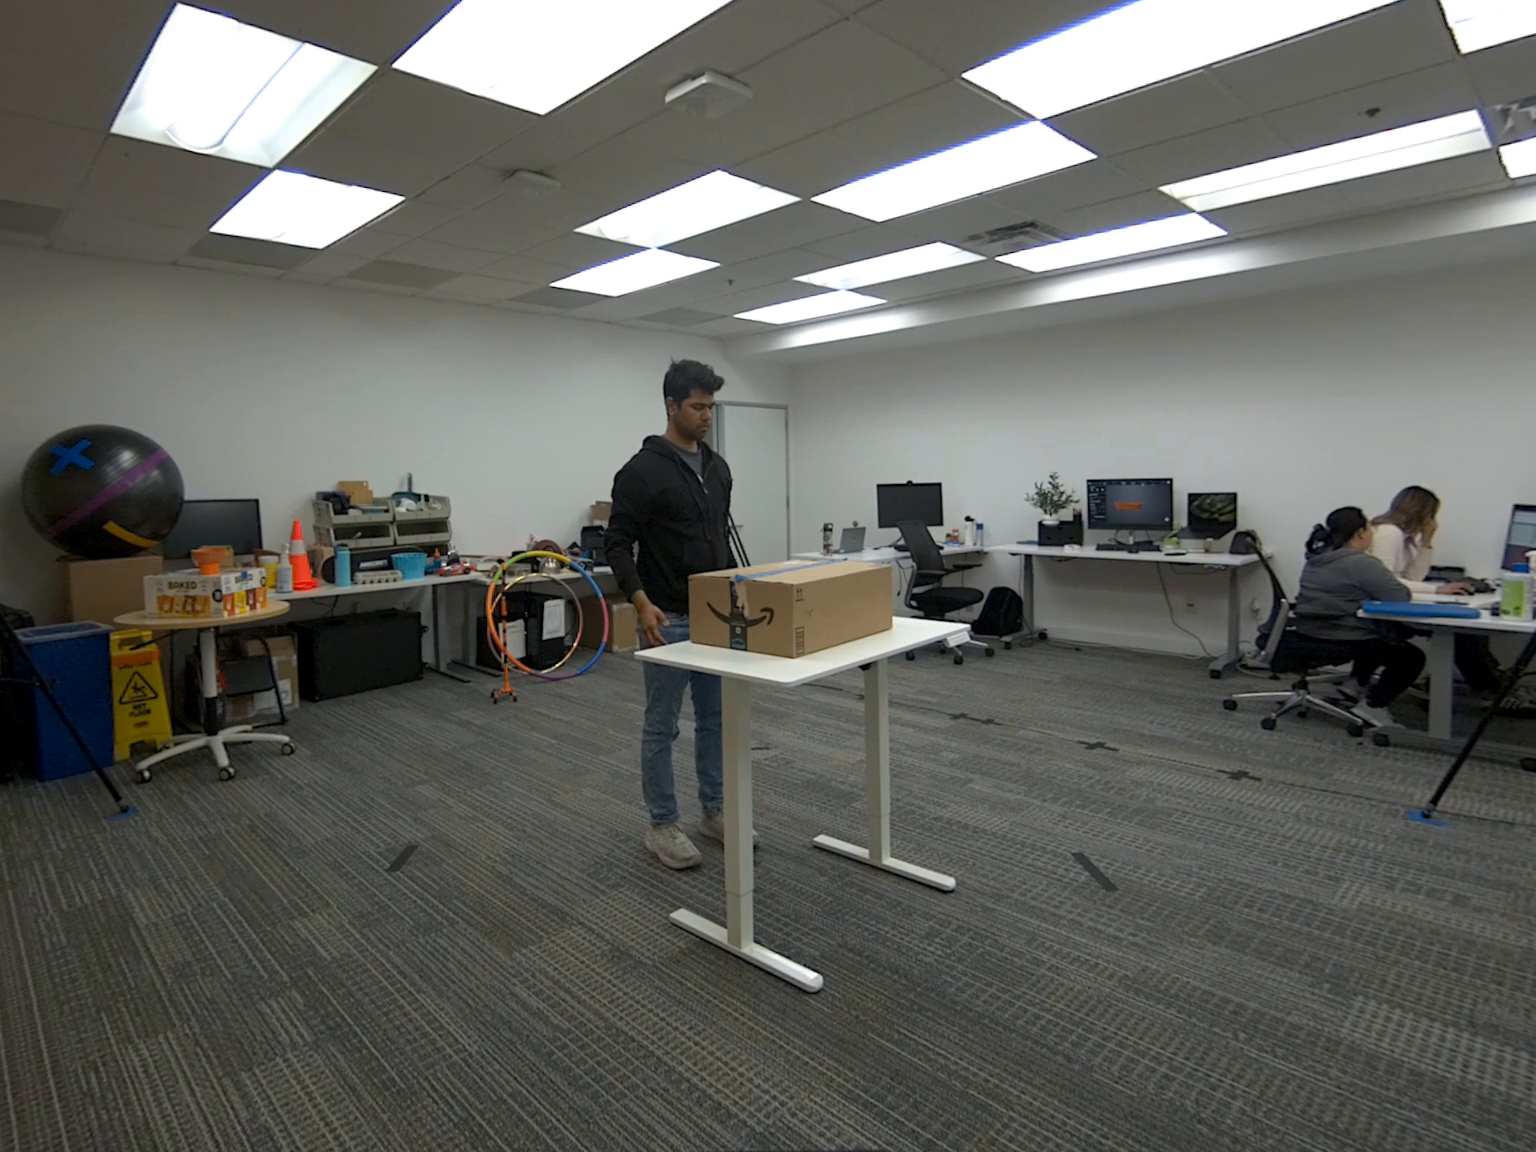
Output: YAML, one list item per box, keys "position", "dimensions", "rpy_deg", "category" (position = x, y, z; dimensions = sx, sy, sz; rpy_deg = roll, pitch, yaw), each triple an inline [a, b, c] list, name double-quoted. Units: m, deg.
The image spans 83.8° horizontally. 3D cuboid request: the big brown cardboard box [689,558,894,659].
- position: [0.083, 0.084, 2.790]
  dimensions: [0.430, 0.232, 0.575]
  rpy_deg: [4, 9, 40]
  category: "big brown cardboard box"
